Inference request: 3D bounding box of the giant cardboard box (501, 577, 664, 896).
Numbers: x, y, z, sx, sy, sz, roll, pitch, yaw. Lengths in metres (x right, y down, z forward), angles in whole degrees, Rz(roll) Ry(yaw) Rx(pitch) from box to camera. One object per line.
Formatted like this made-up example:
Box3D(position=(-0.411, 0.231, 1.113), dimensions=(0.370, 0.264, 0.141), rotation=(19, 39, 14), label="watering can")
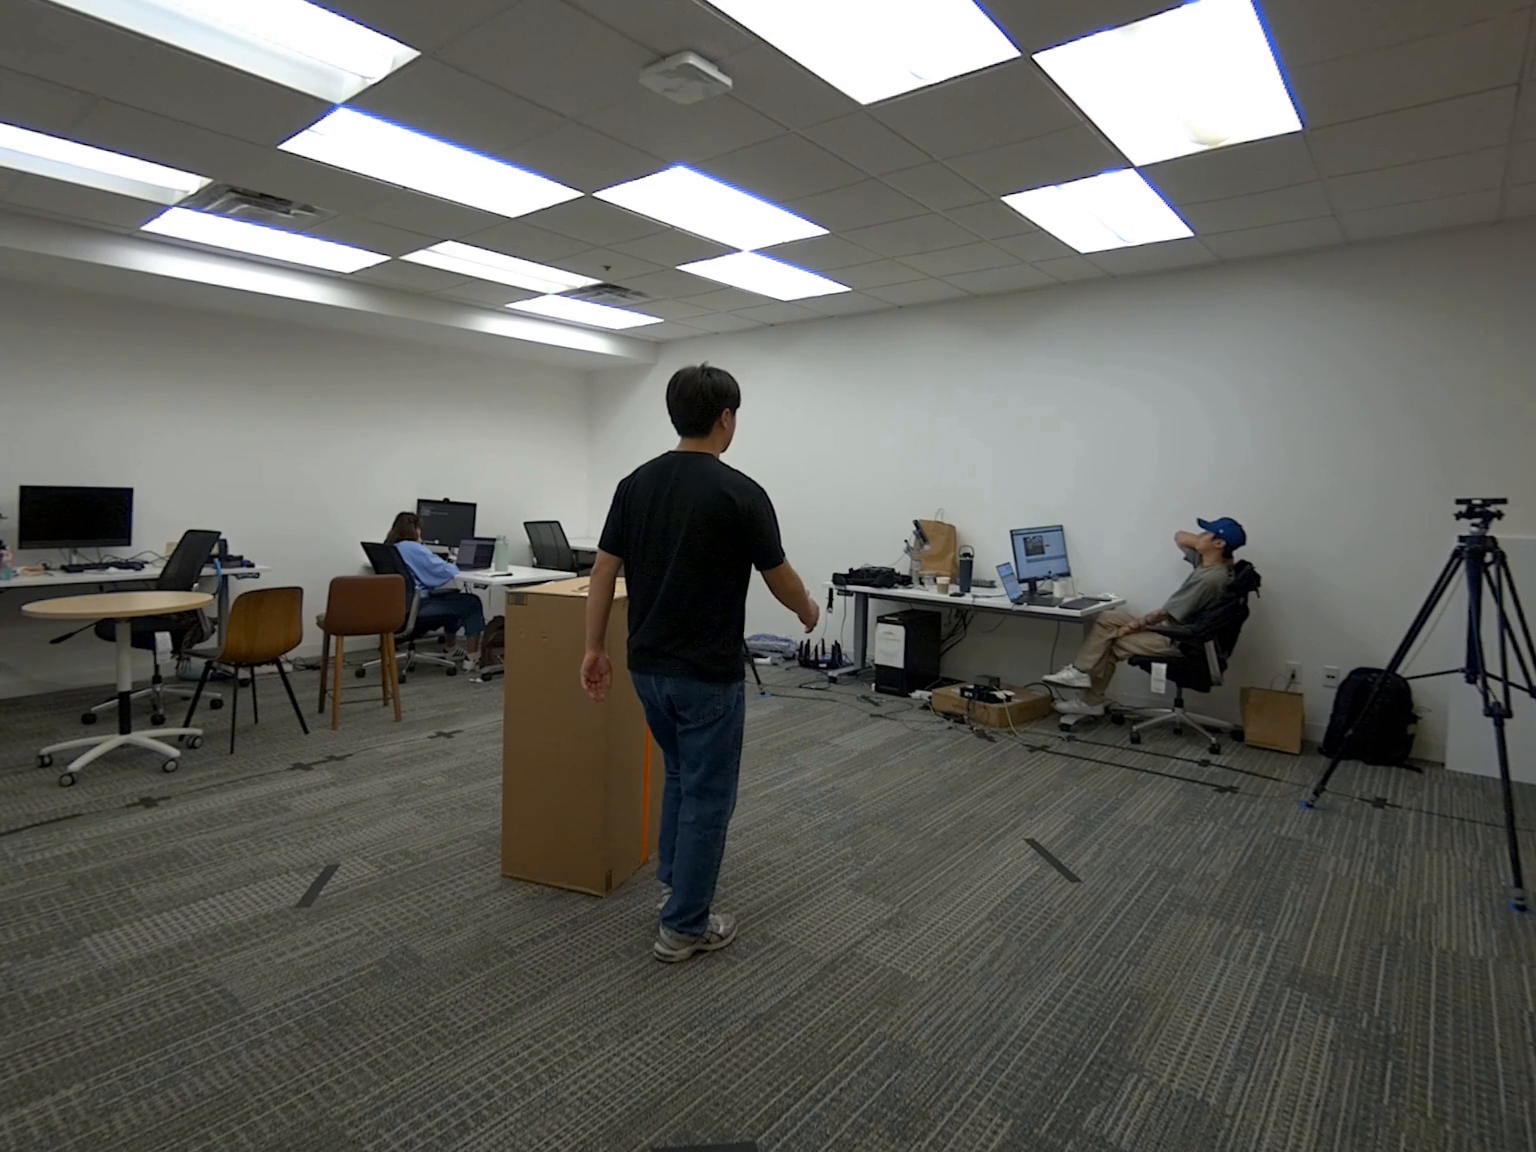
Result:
Box3D(position=(-0.665, 0.541, 3.193), dimensions=(0.457, 1.024, 0.573), rotation=(3, 4, 20), label="giant cardboard box")
